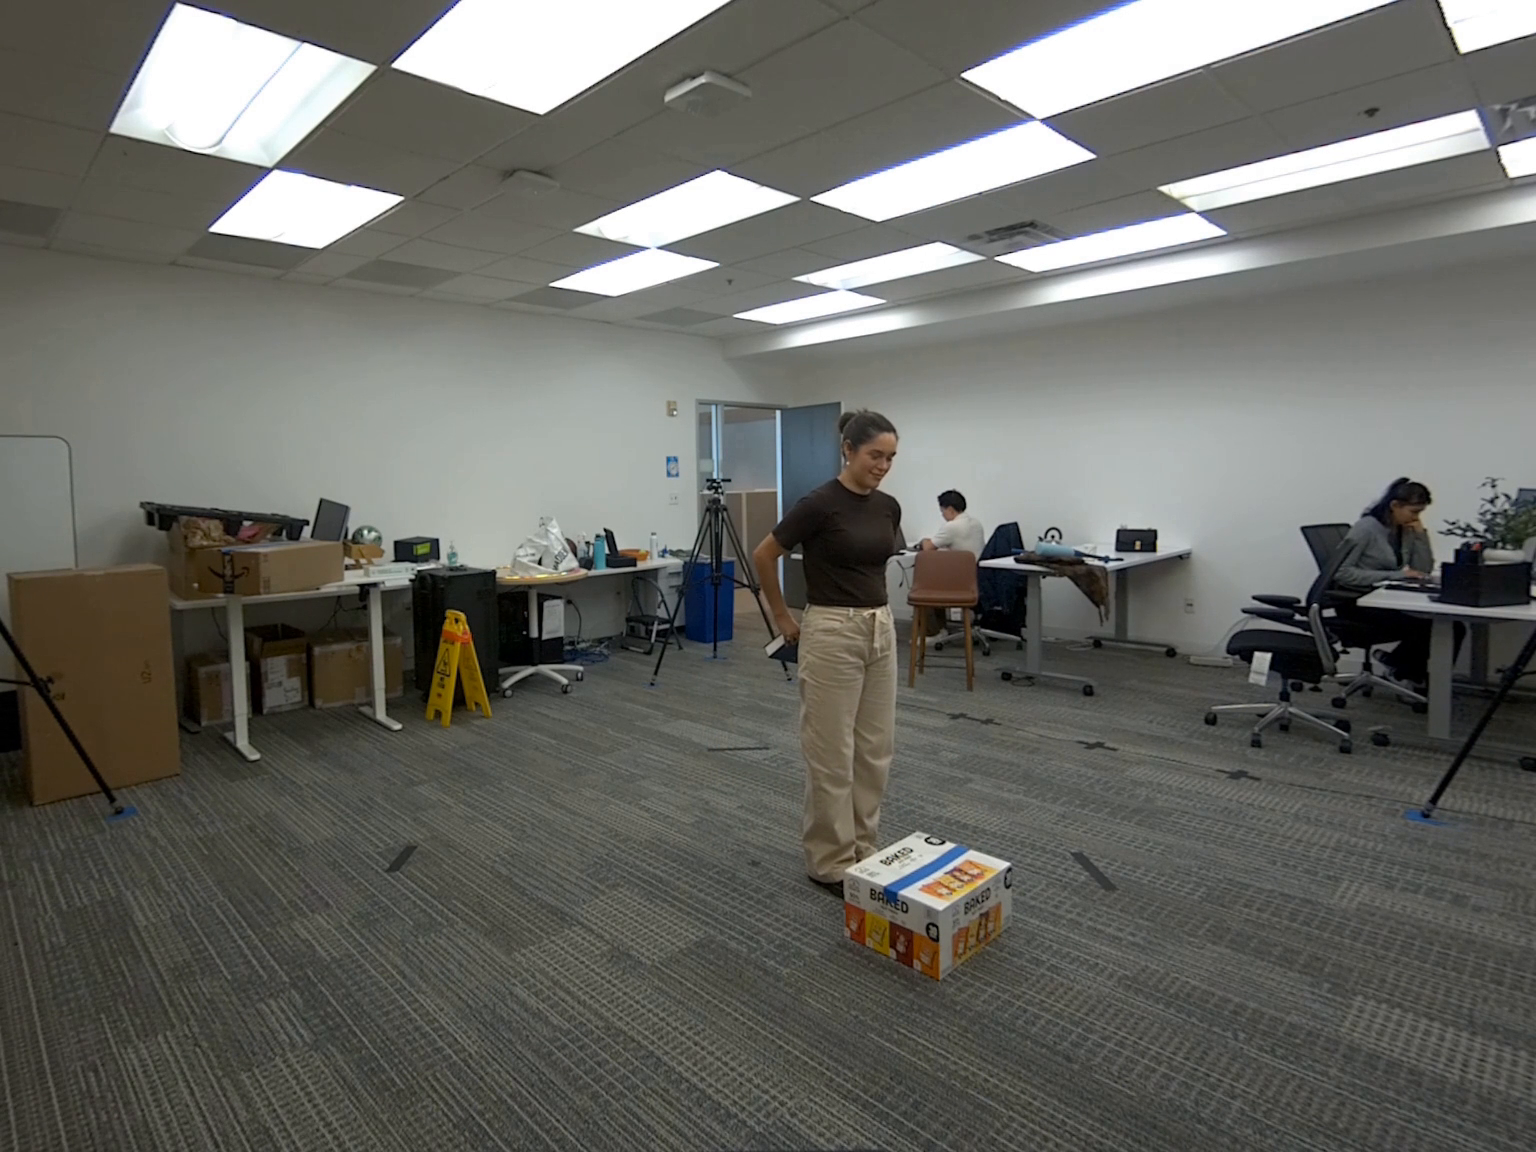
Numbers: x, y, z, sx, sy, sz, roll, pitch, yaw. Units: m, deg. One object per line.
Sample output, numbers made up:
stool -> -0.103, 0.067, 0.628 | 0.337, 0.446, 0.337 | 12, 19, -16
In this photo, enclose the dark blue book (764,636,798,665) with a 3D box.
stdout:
dark blue book -> 0.134, 0.254, 3.107 | 0.236, 0.047, 0.164 | 18, -50, -45
